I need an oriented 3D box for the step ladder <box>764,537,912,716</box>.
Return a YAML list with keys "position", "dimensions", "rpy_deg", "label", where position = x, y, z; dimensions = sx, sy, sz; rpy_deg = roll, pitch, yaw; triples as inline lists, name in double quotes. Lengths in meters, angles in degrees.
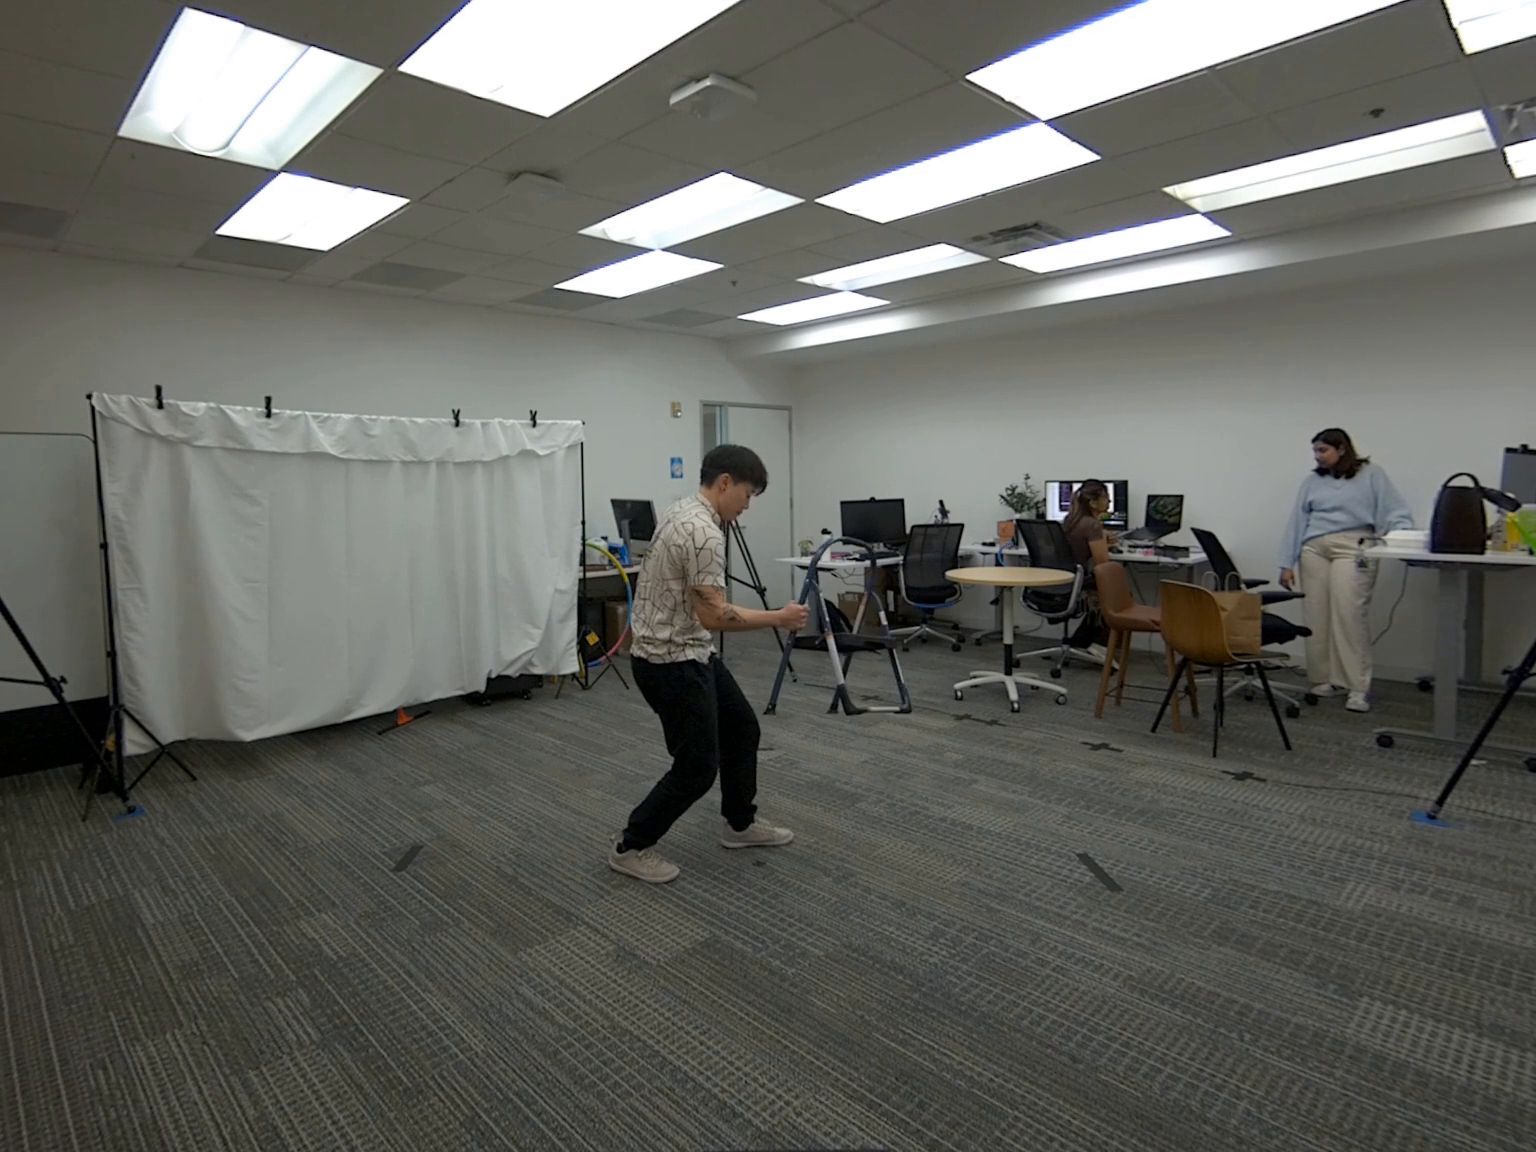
- position: [0.238, 0.181, 3.007]
  dimensions: [0.357, 0.612, 0.416]
  rpy_deg: [-9, -13, 37]
  label: "step ladder"
